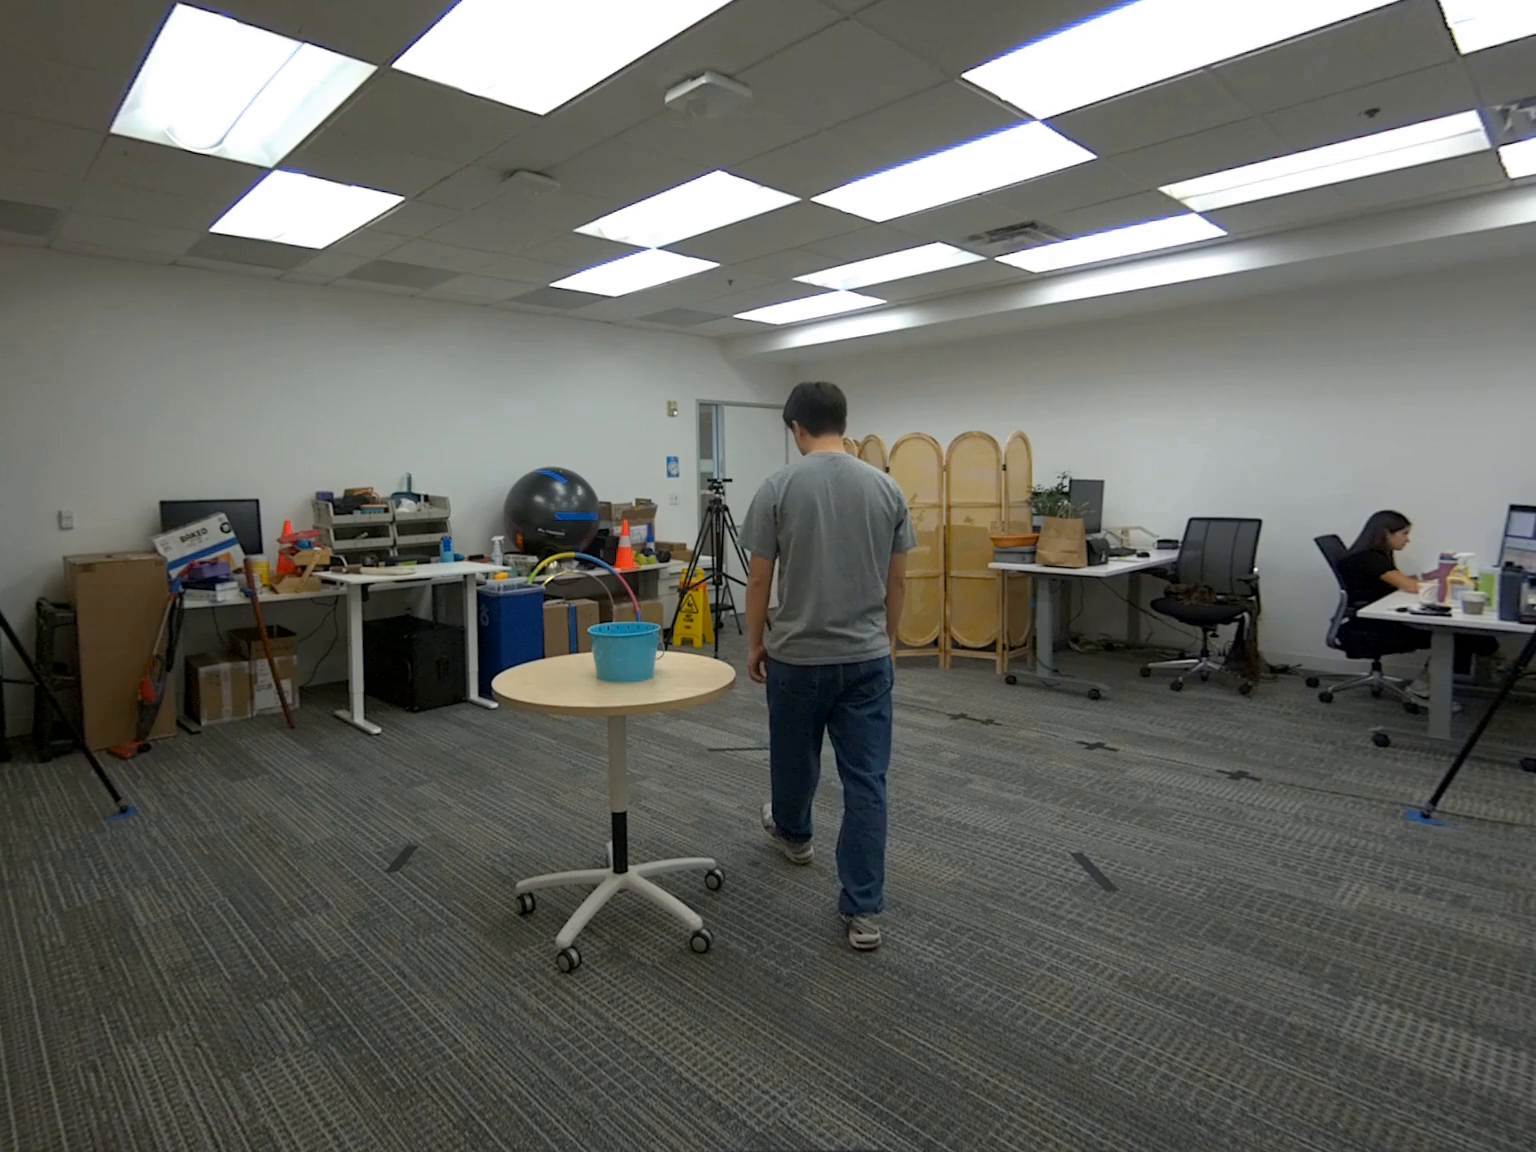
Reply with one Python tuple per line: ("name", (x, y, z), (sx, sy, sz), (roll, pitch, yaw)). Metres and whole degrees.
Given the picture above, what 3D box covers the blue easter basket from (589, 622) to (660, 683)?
("blue easter basket", (-0.446, 0.244, 2.694), (0.243, 0.155, 0.245), (-1, 6, -2))
